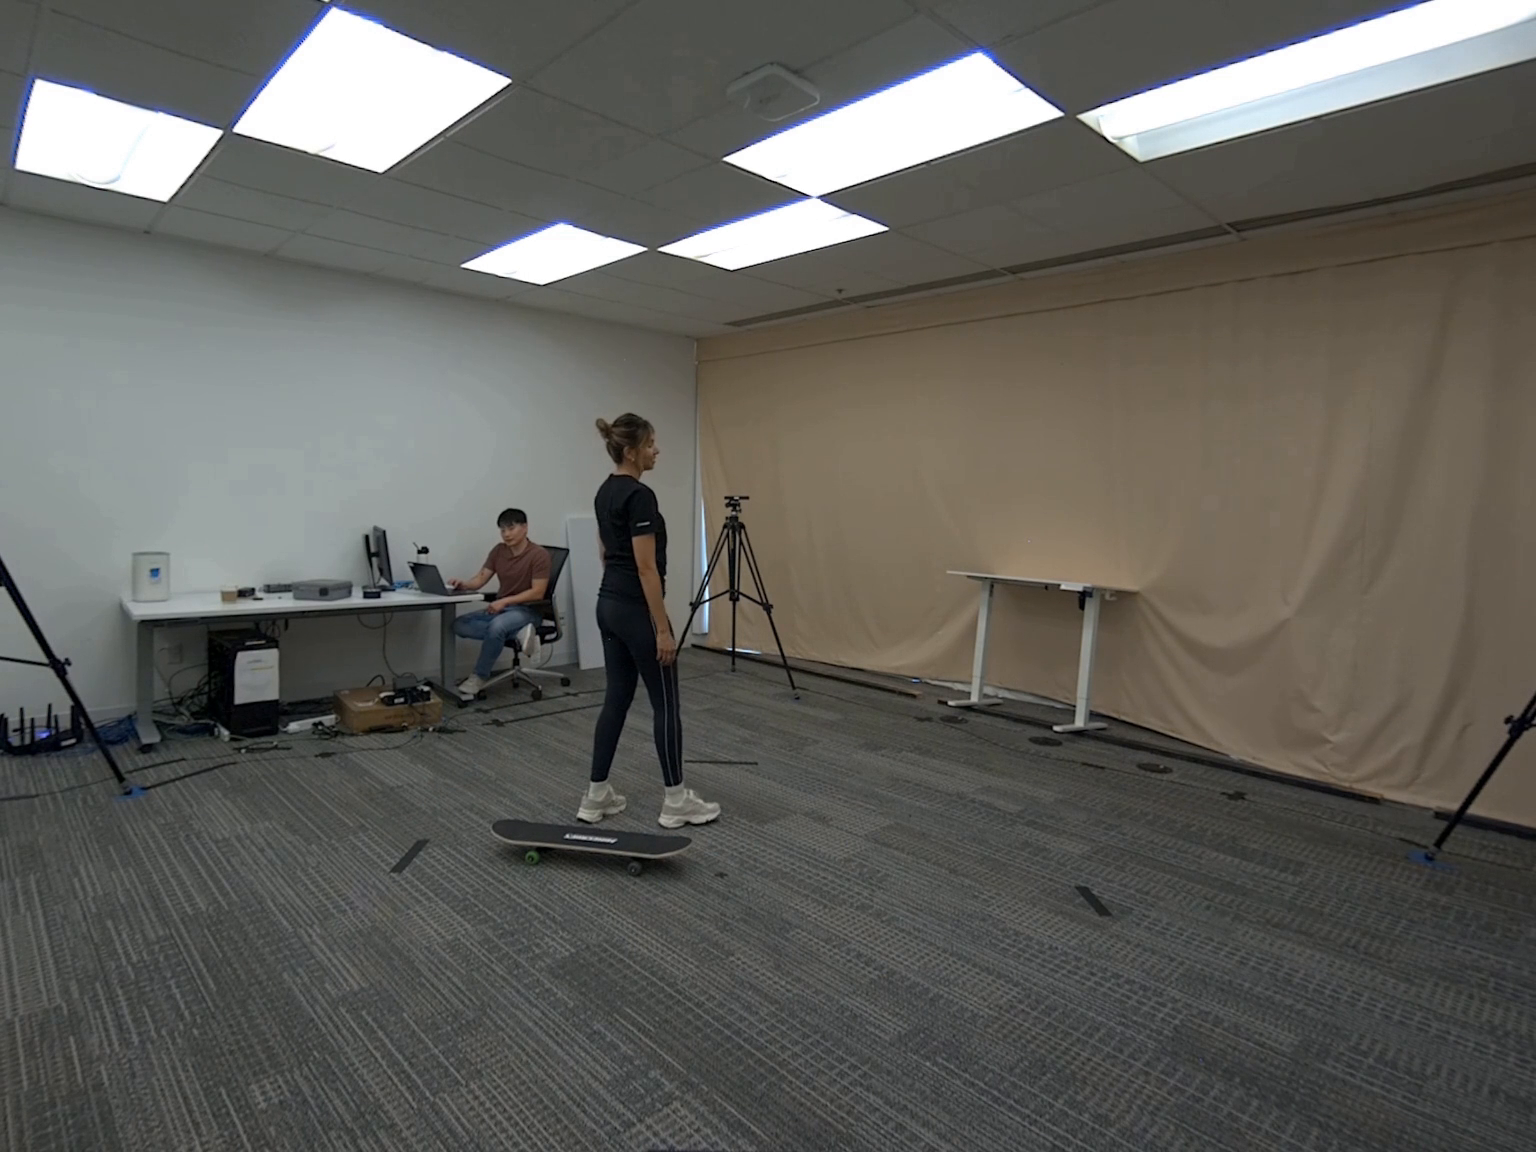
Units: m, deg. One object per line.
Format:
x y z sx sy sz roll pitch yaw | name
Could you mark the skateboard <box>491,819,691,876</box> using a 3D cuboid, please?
-0.679 1.024 3.198 0.792 0.110 0.192 2 5 10 | skateboard
